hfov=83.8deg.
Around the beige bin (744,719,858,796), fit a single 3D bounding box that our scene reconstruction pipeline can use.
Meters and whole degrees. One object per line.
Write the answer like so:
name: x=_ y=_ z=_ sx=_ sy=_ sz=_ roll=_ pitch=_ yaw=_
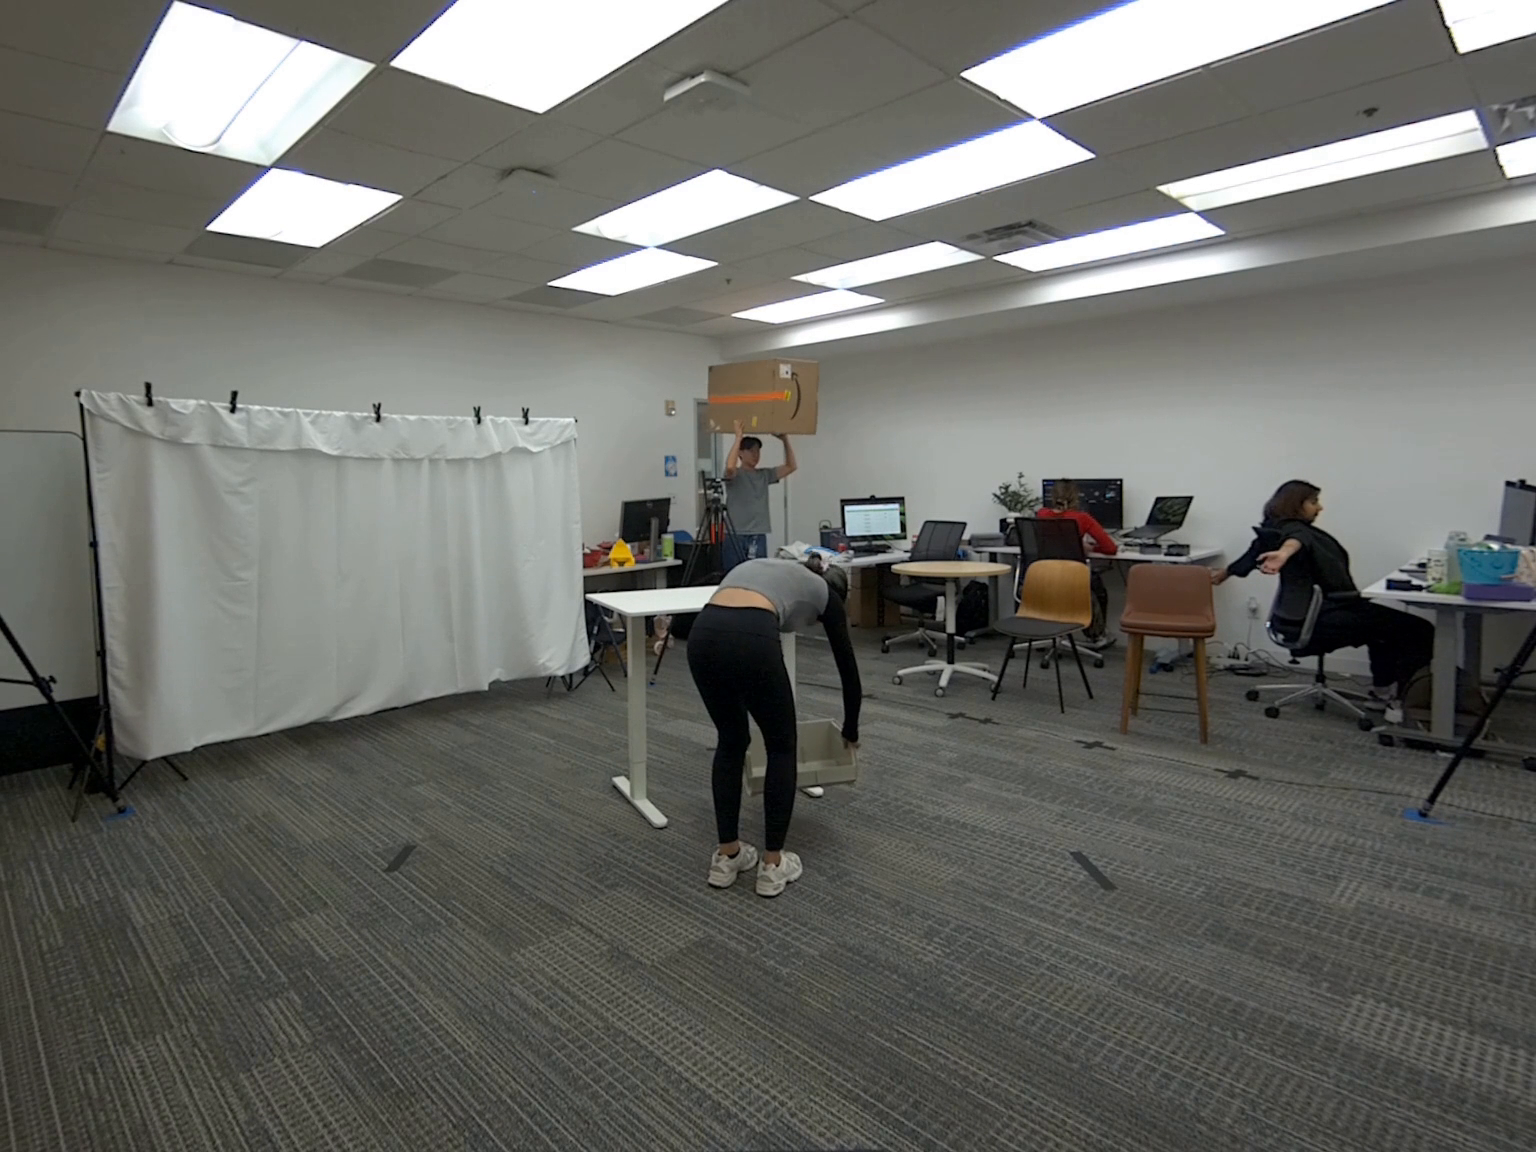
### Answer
beige bin: x=0.103 y=0.720 z=3.356 sx=0.420 sy=0.188 sz=0.380 roll=-6 pitch=3 yaw=-6
